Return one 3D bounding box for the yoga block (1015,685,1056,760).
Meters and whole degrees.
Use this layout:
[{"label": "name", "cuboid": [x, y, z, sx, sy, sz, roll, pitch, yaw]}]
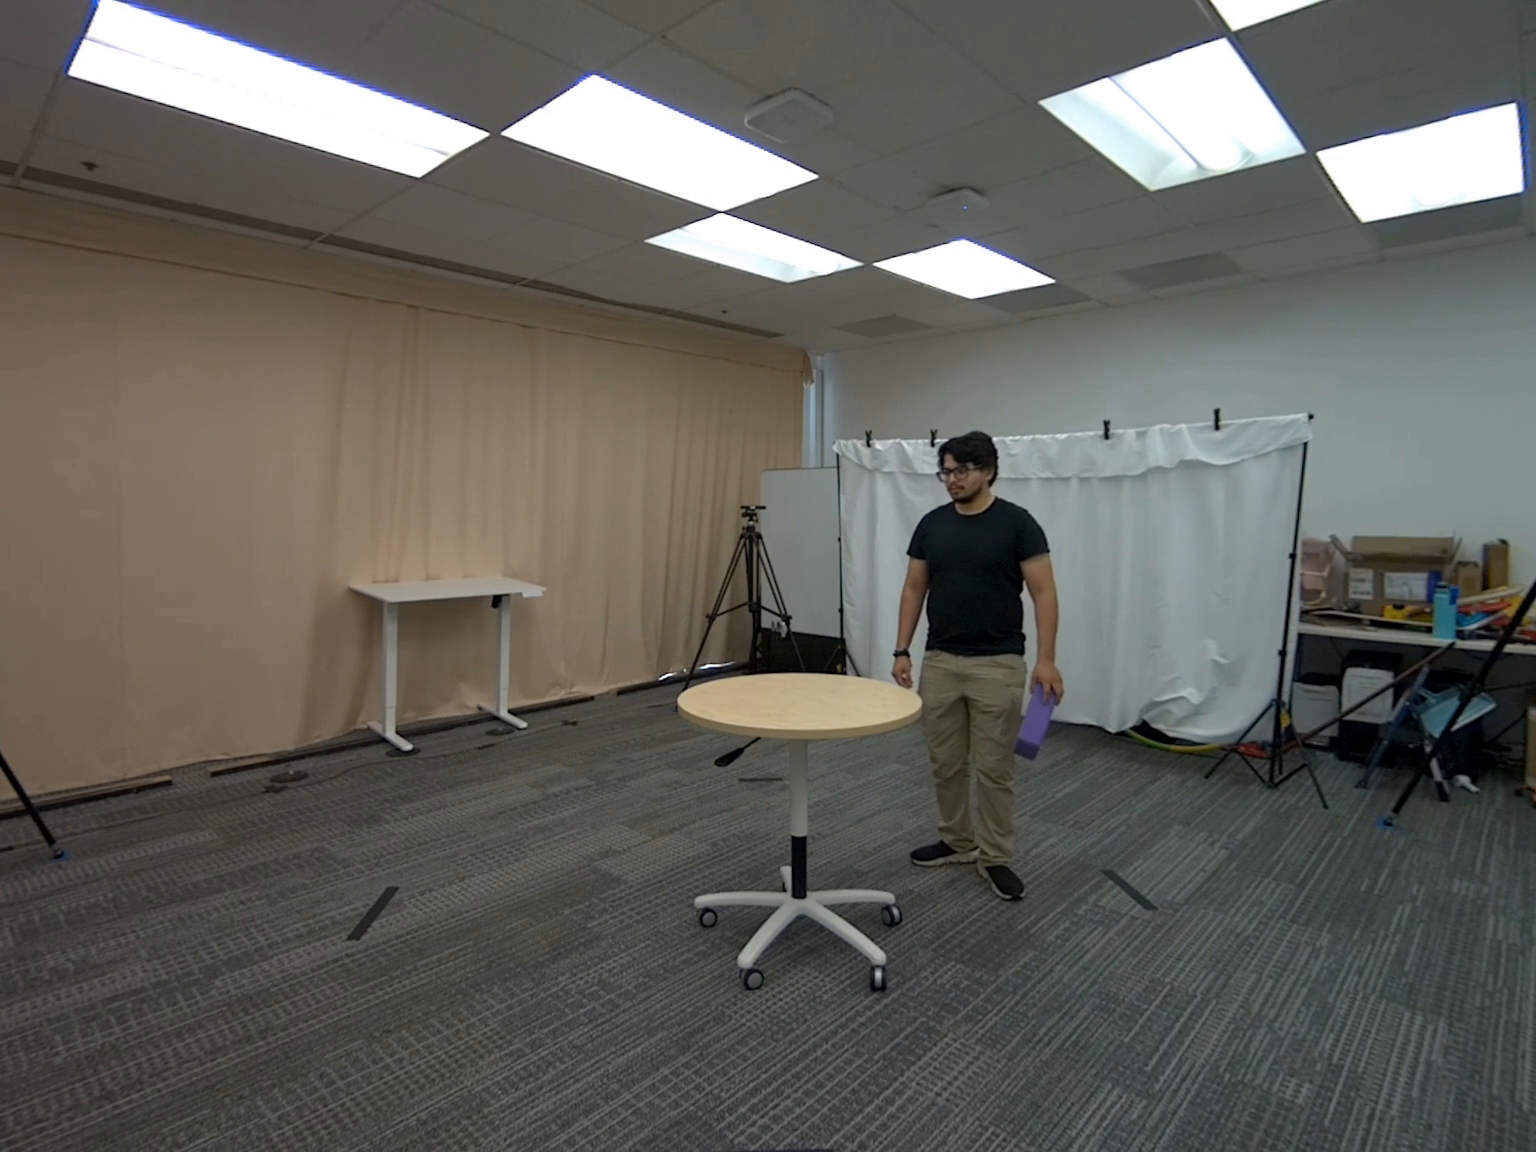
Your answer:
[{"label": "yoga block", "cuboid": [0.908, 0.491, 2.842, 0.078, 0.229, 0.145, 18, -26, 20]}]
